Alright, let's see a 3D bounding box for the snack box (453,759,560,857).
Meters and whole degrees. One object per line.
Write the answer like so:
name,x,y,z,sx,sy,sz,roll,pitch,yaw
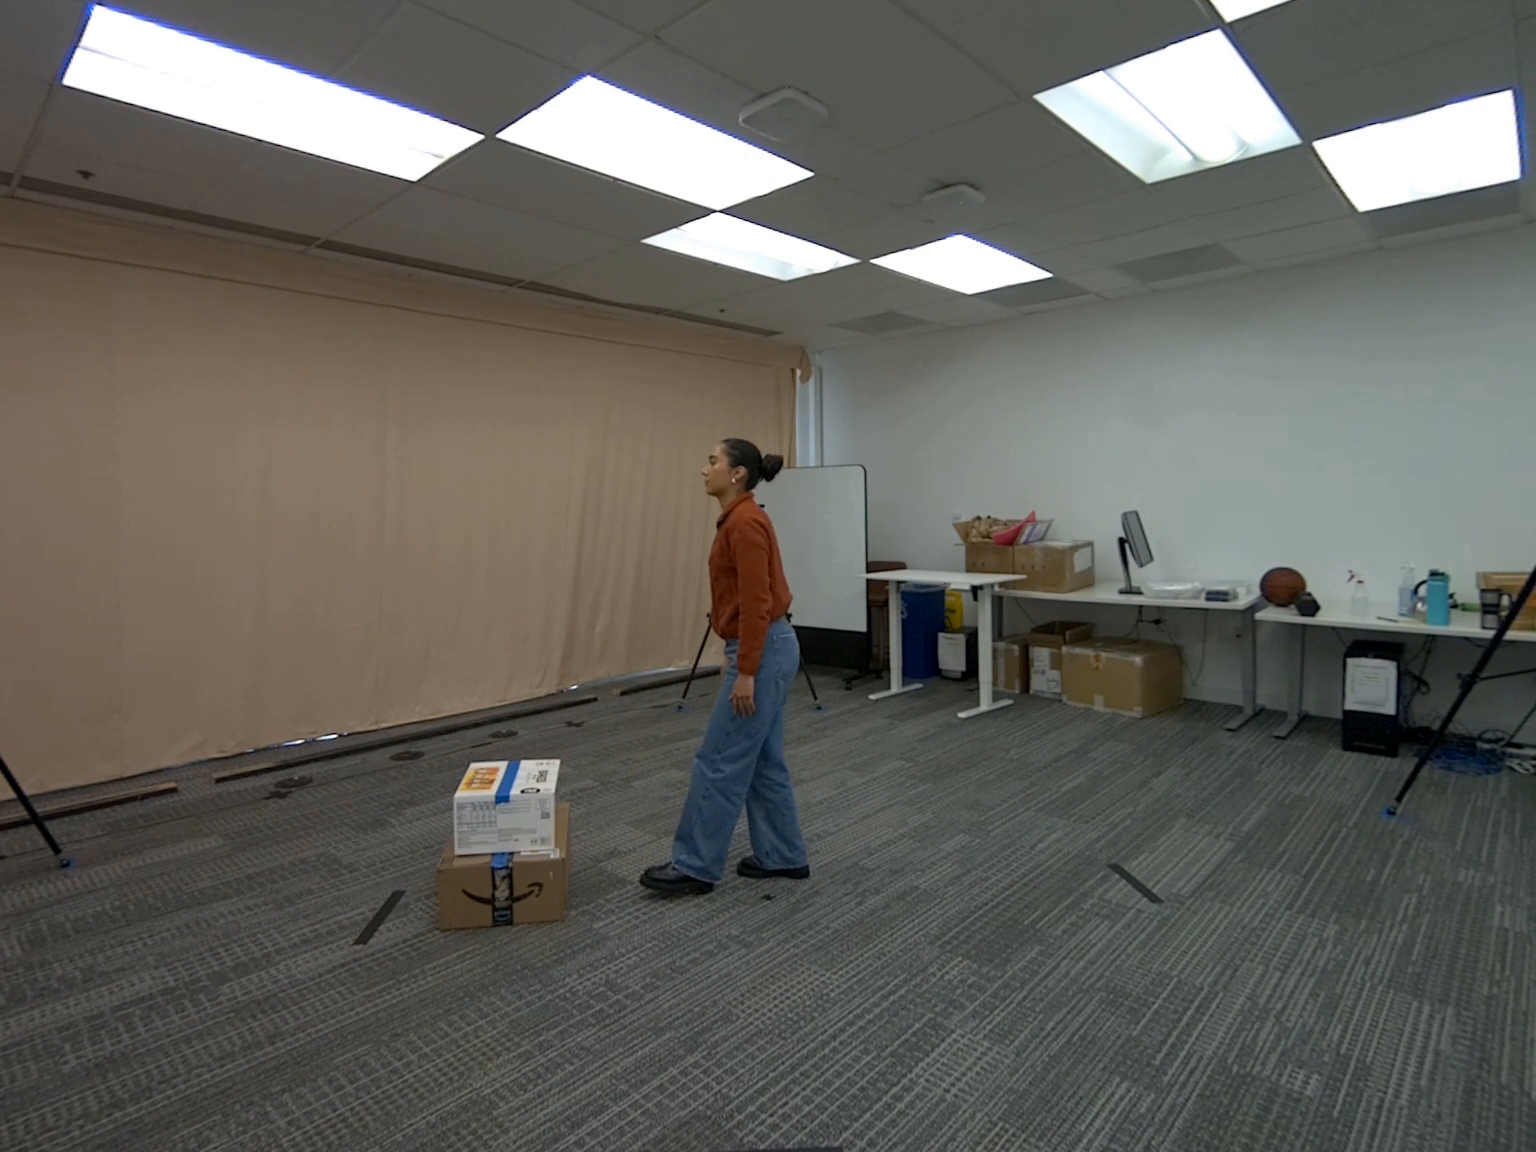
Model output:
snack box,-0.942,0.838,3.080,0.337,0.205,0.410,-1,4,-10
